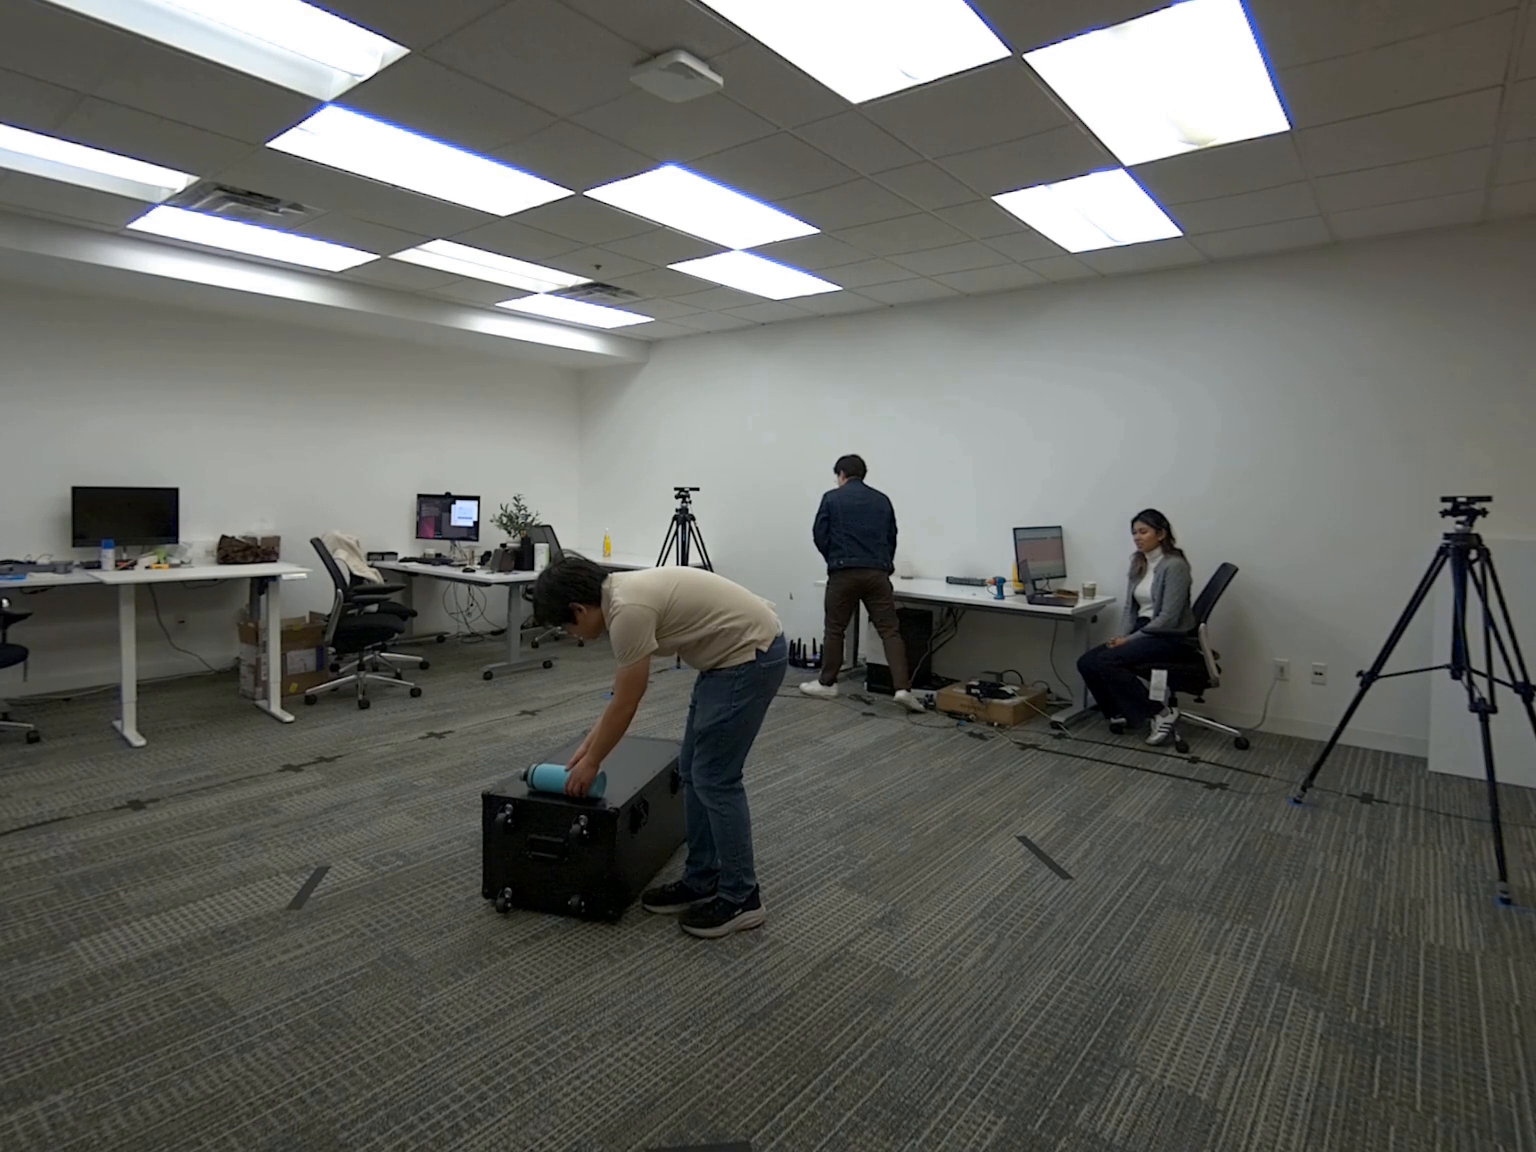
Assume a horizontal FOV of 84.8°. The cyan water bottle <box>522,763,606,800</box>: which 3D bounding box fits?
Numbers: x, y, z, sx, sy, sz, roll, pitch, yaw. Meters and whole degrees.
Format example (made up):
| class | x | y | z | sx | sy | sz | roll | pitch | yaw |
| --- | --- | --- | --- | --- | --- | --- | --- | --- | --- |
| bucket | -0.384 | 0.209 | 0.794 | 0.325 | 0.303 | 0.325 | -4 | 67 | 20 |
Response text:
| class | x | y | z | sx | sy | sz | roll | pitch | yaw |
| --- | --- | --- | --- | --- | --- | --- | --- | --- | --- |
| cyan water bottle | -0.693 | 0.670 | 2.817 | 0.288 | 0.092 | 0.091 | 2 | 4 | 13 |
